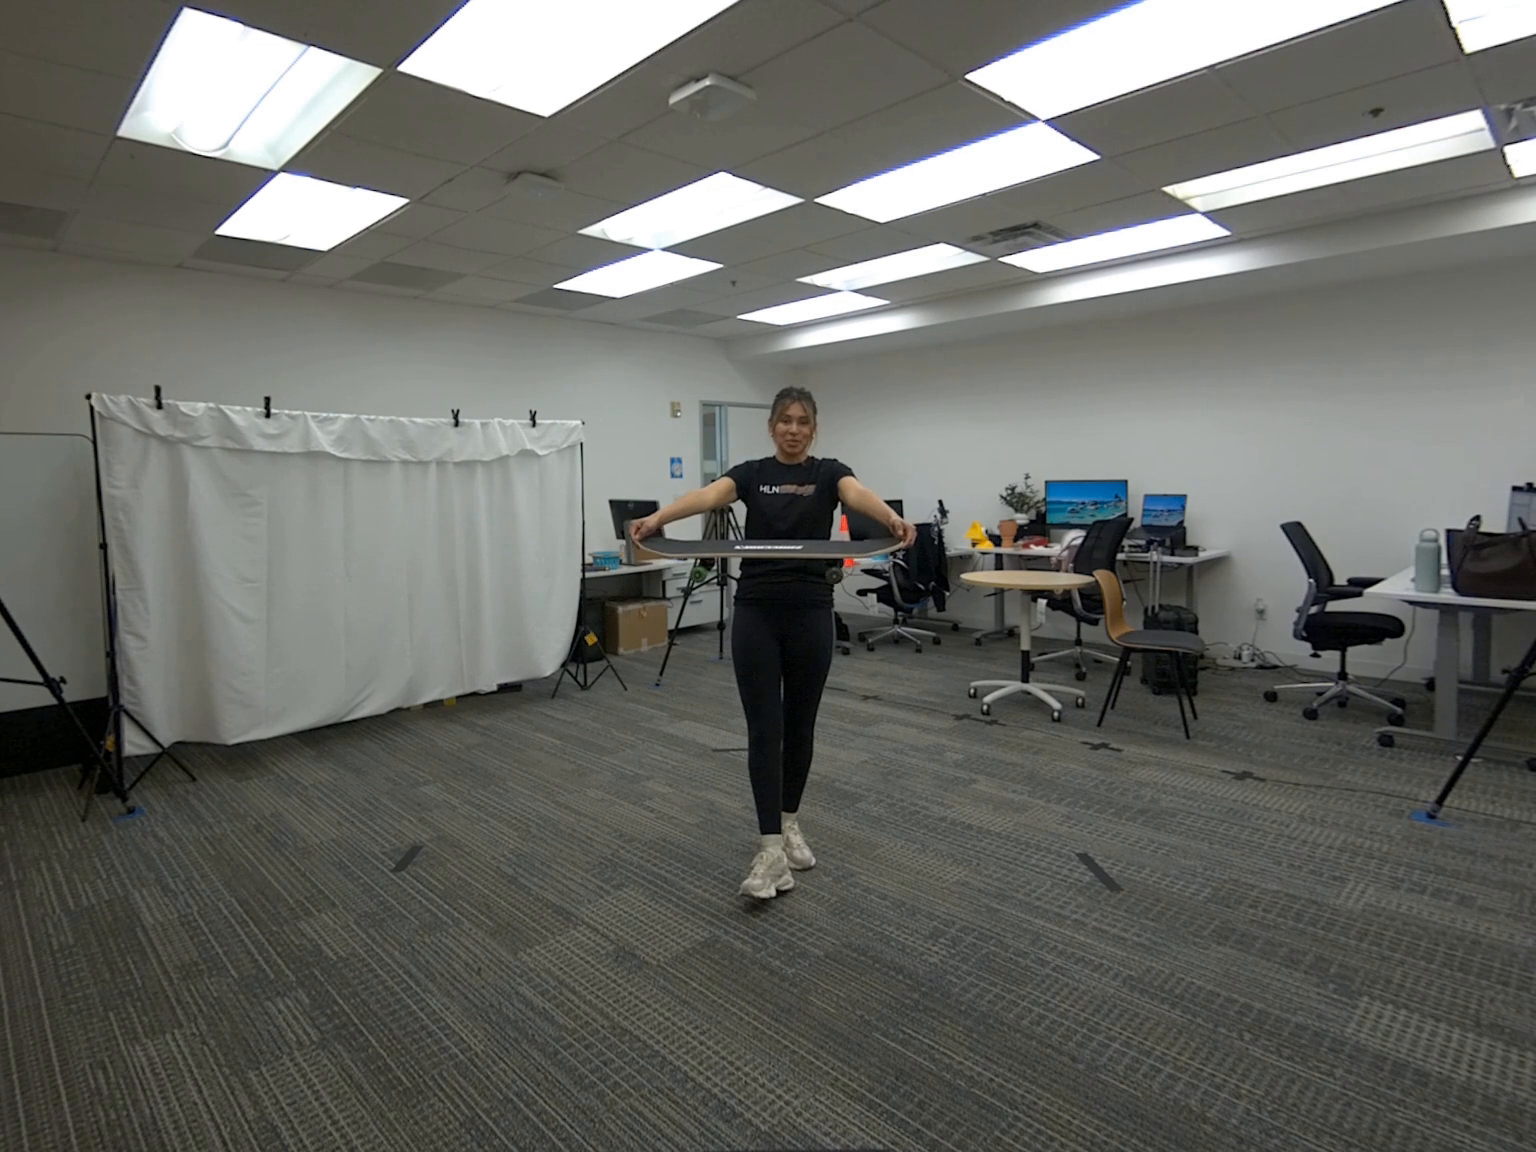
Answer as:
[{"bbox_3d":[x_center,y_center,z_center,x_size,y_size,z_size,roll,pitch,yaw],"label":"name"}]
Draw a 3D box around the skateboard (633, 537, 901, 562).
[{"bbox_3d":[0.004,-0.047,2.541,0.792,0.109,0.194,0,13,9],"label":"skateboard"}]
